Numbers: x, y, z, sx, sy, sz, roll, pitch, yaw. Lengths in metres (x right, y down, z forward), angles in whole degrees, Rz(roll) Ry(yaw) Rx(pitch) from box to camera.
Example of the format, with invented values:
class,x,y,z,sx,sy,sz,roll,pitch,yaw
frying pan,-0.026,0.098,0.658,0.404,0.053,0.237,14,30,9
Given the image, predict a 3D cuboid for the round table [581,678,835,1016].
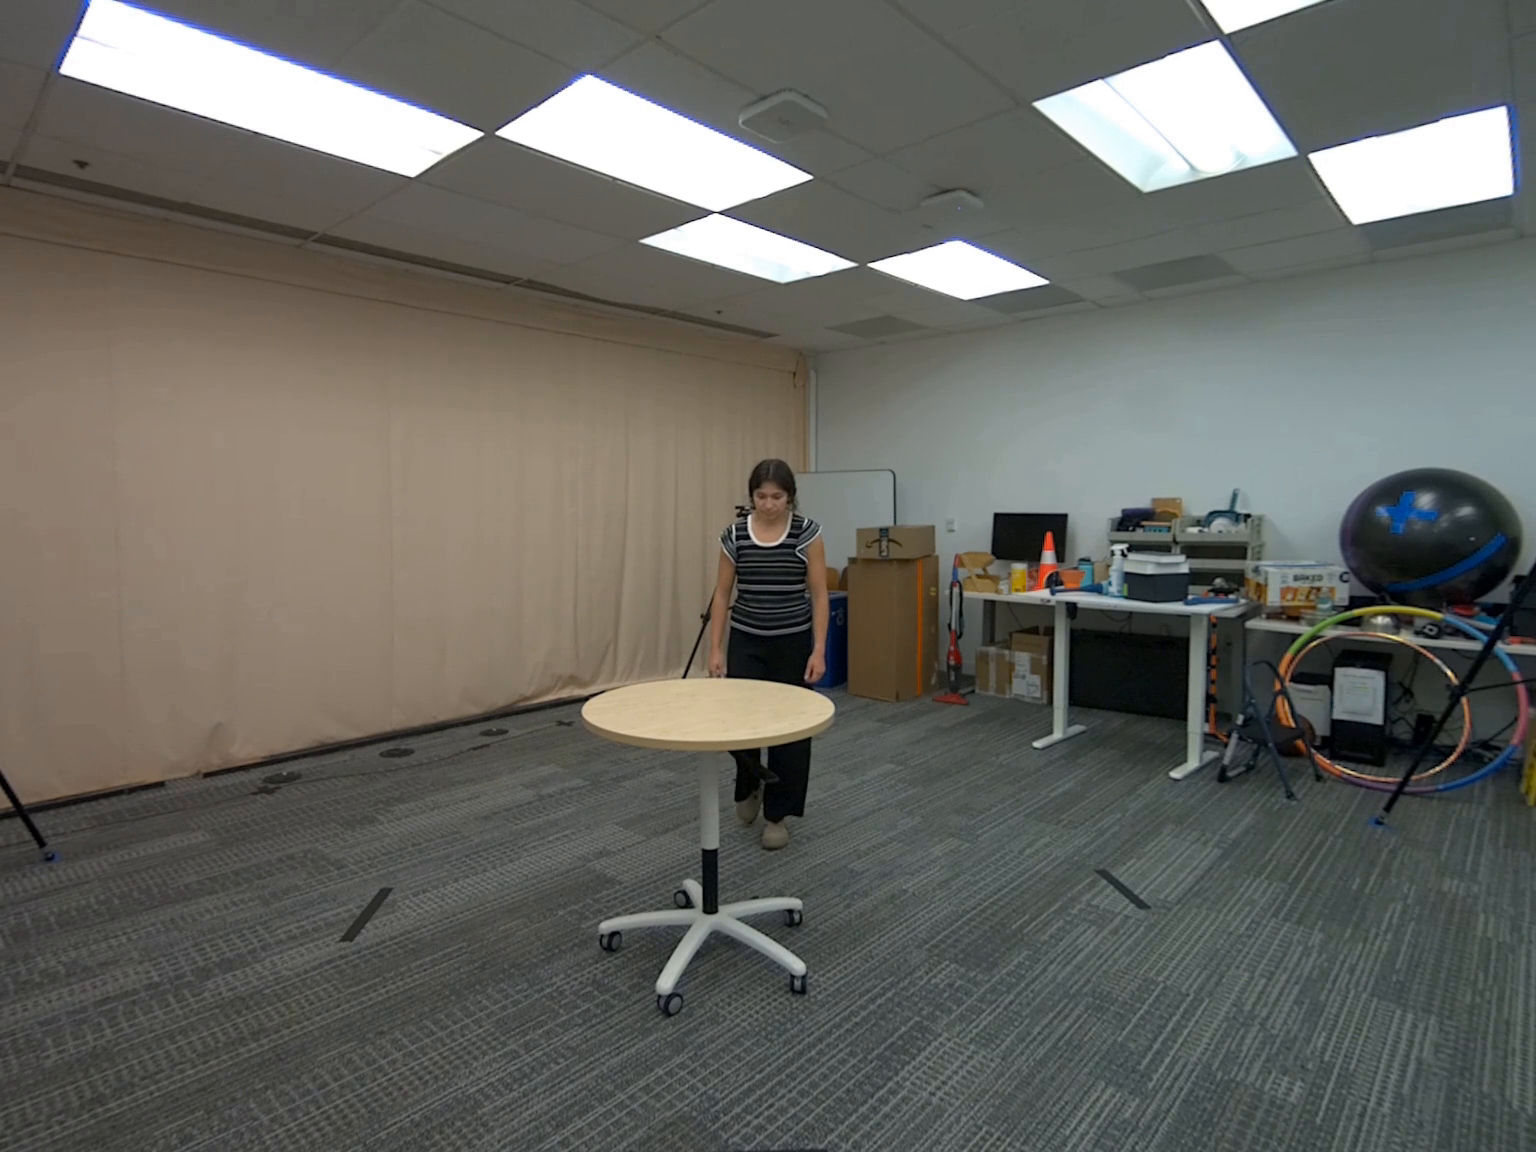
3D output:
class,x,y,z,sx,sy,sz,roll,pitch,yaw
round table,-0.181,0.786,2.597,0.763,0.792,0.767,-1,4,-2
